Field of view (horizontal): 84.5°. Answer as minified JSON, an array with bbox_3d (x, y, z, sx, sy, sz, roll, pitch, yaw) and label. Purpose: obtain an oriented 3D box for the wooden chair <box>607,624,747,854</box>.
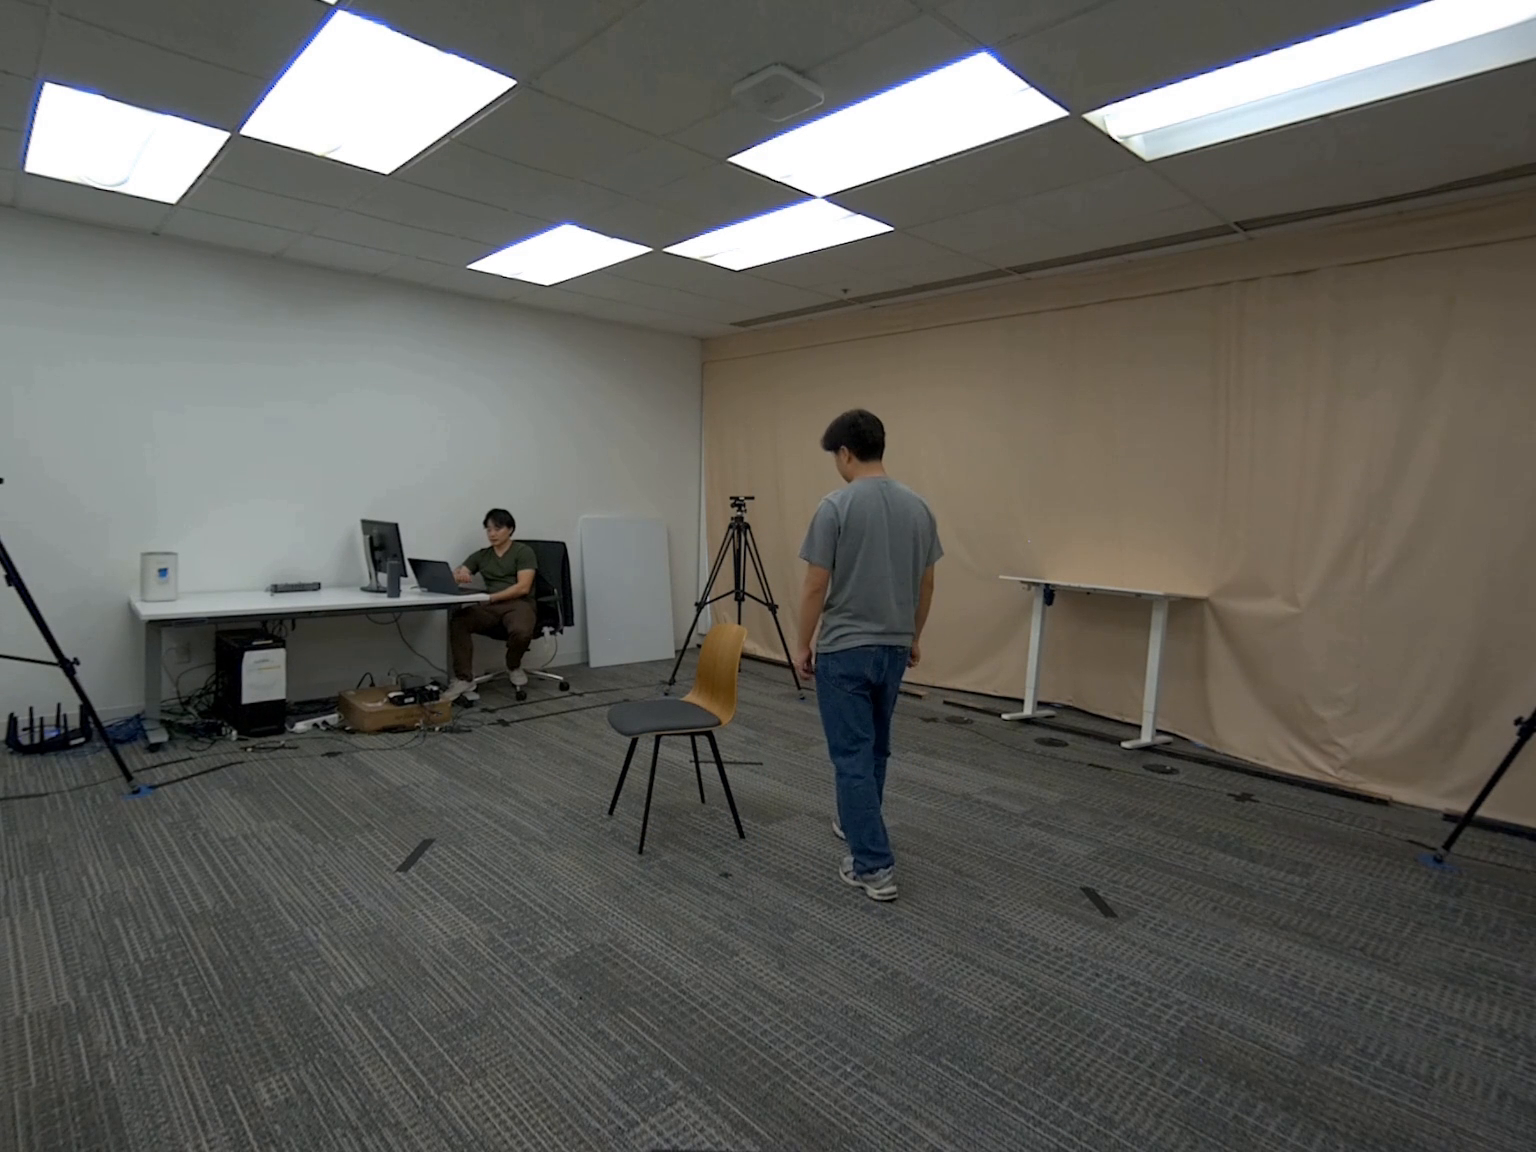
[{"bbox_3d":[-0.398,0.634,3.526,0.513,0.876,0.488,5,2,-25],"label":"wooden chair"}]
